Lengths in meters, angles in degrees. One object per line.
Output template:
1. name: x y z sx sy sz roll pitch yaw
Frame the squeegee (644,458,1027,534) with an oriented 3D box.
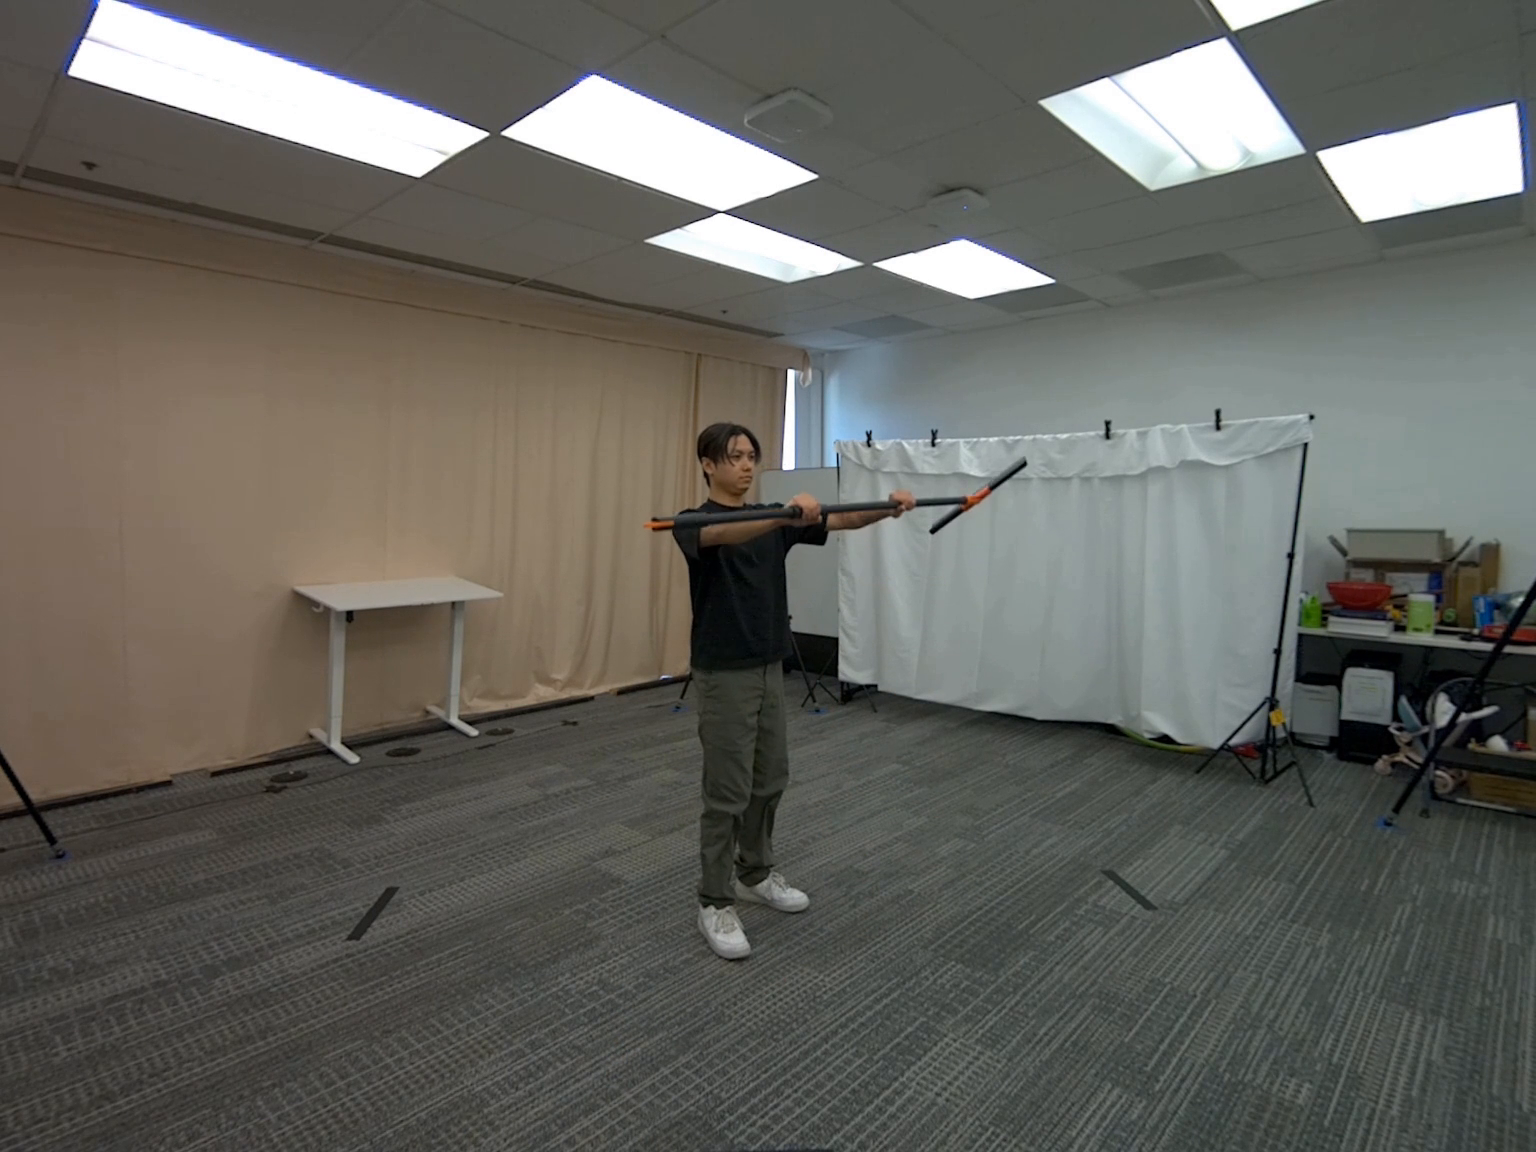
1. squeegee: 0.256 -0.183 2.417 1.494 0.054 0.444 -10 -19 -48
